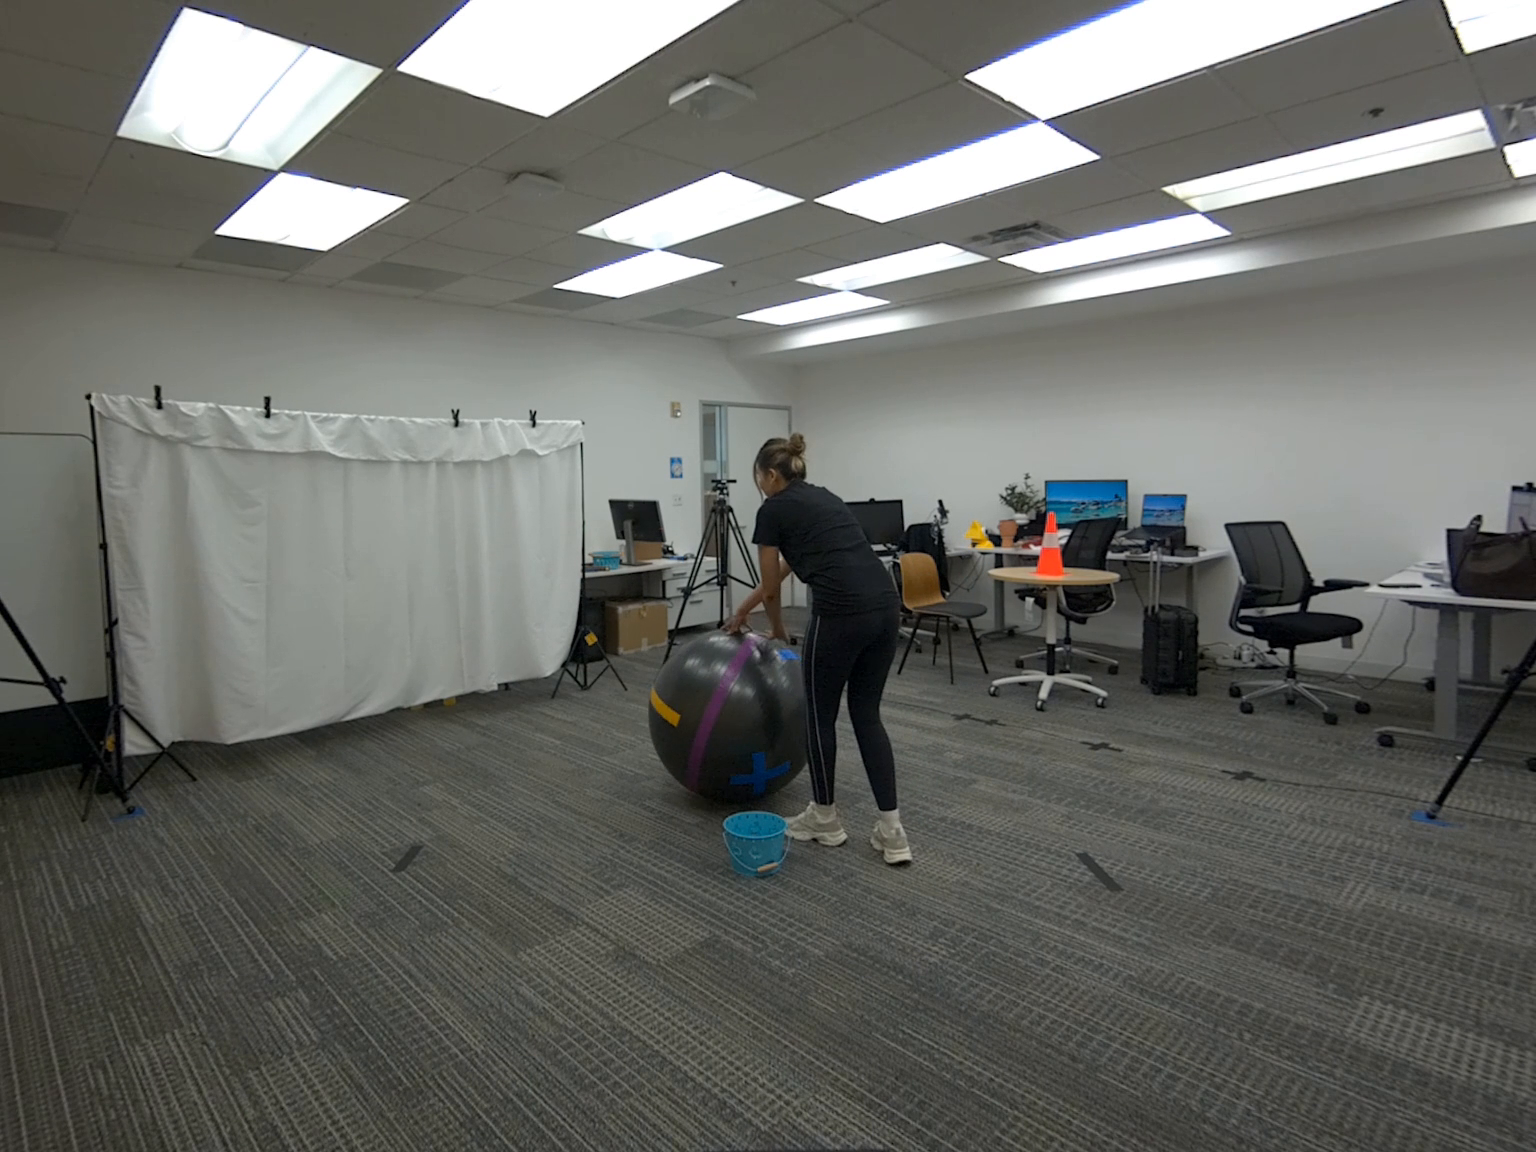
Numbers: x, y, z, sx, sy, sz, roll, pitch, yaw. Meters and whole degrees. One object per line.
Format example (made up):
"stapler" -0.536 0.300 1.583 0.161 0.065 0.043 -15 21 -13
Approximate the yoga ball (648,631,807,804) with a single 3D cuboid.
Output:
"yoga ball" -0.154 0.612 3.777 0.757 0.755 0.762 -1 5 -2
